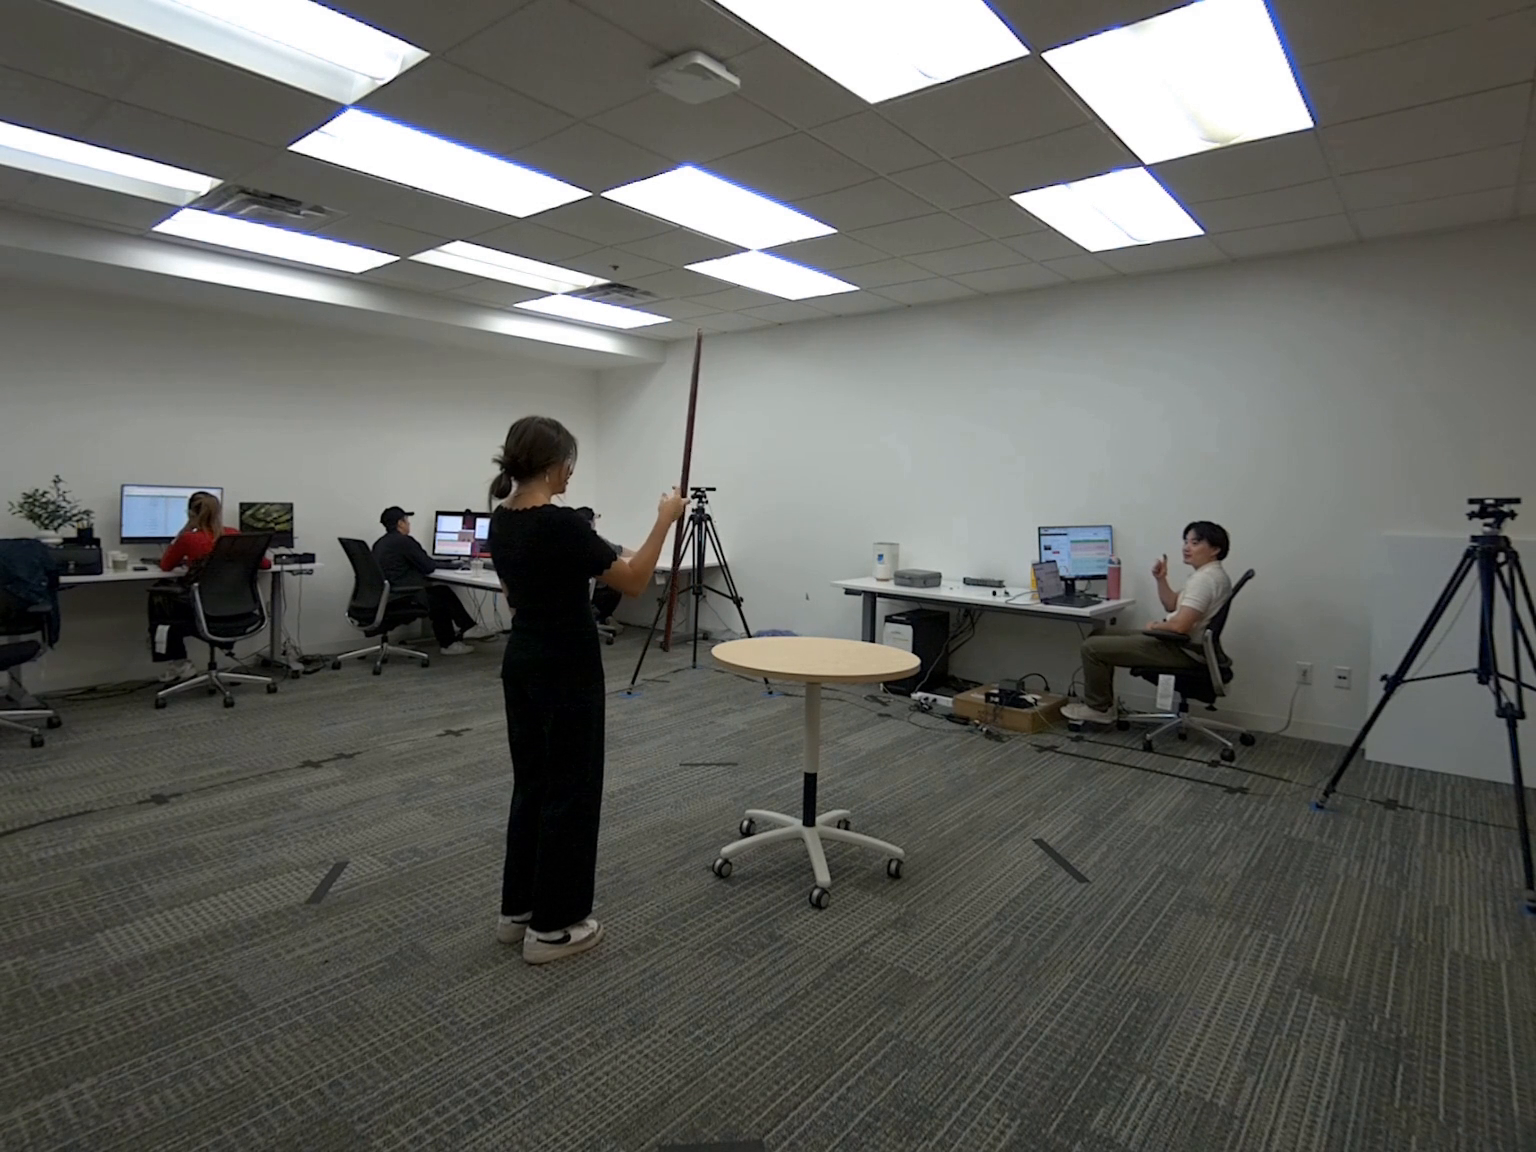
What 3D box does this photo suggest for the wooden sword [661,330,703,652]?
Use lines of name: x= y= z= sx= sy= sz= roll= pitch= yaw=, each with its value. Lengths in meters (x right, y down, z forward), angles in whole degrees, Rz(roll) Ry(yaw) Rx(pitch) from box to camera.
wooden sword: x=-0.285 y=-0.269 z=2.651 sx=0.023 sy=1.028 sz=0.052 roll=7 pitch=-4 yaw=-27
